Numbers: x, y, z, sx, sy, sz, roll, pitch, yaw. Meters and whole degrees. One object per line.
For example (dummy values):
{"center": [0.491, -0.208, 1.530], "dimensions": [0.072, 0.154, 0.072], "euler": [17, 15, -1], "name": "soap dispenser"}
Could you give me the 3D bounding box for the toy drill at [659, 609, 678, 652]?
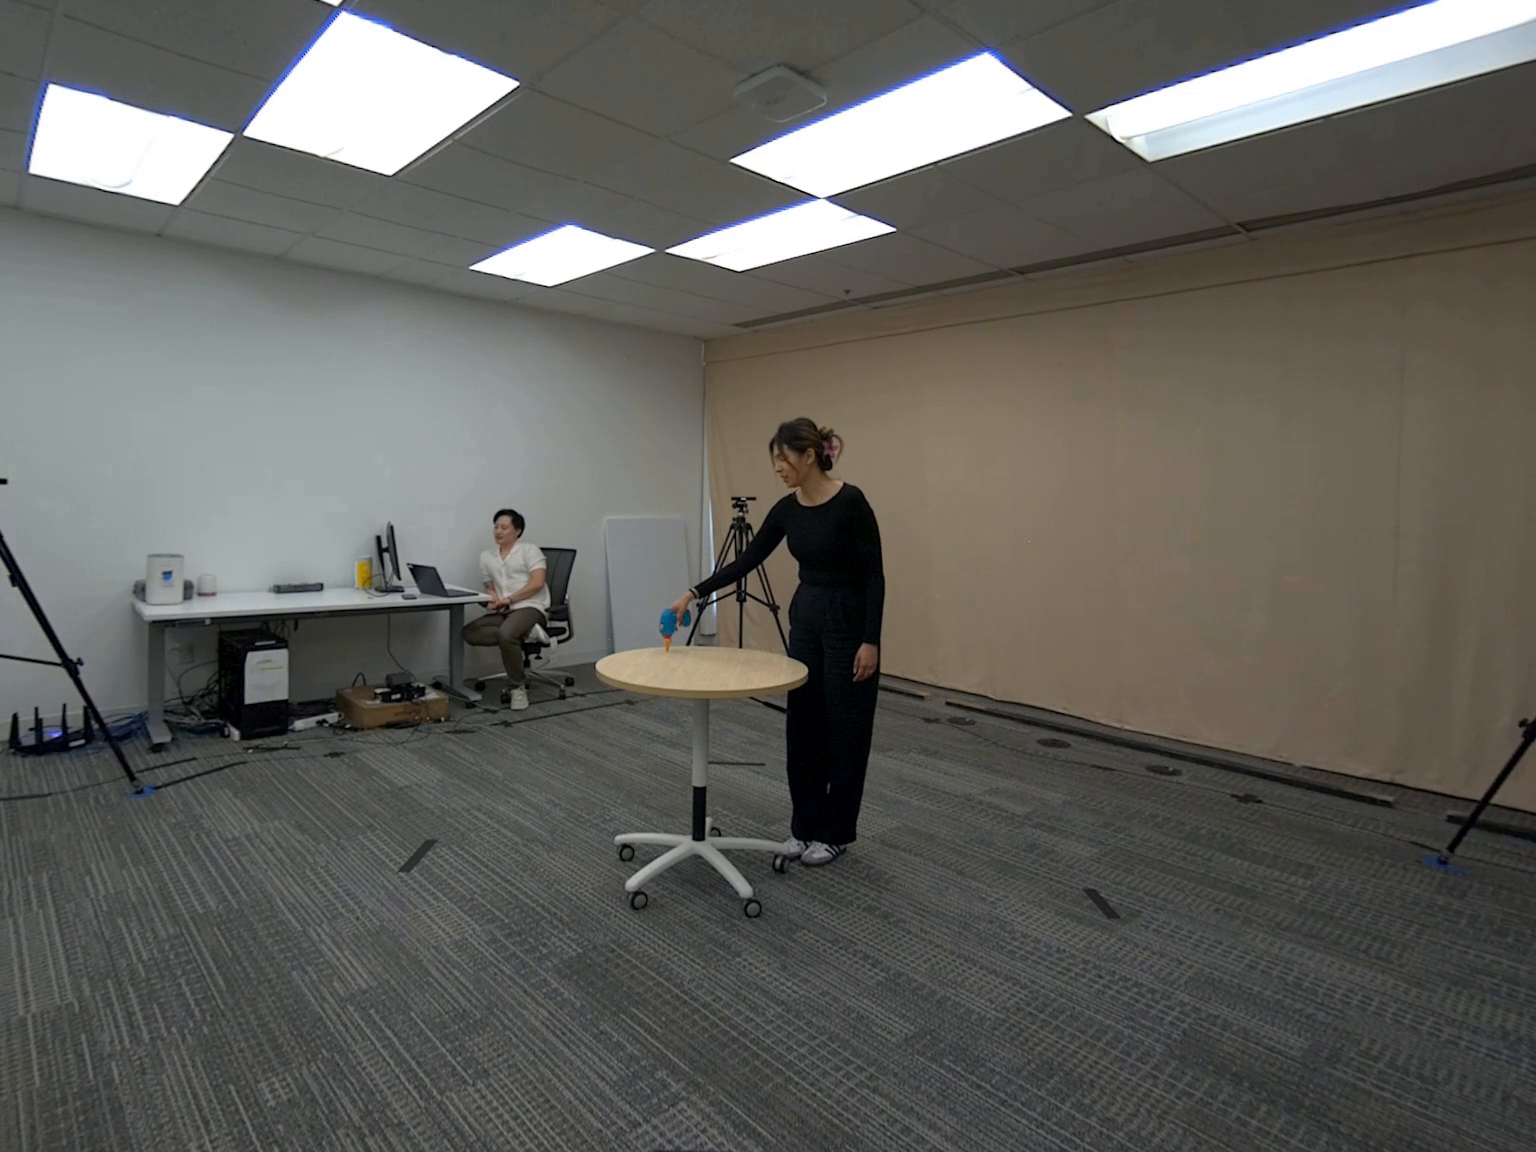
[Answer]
{"center": [-0.370, 0.207, 3.310], "dimensions": [0.062, 0.169, 0.143], "euler": [3, 5, 39], "name": "toy drill"}
